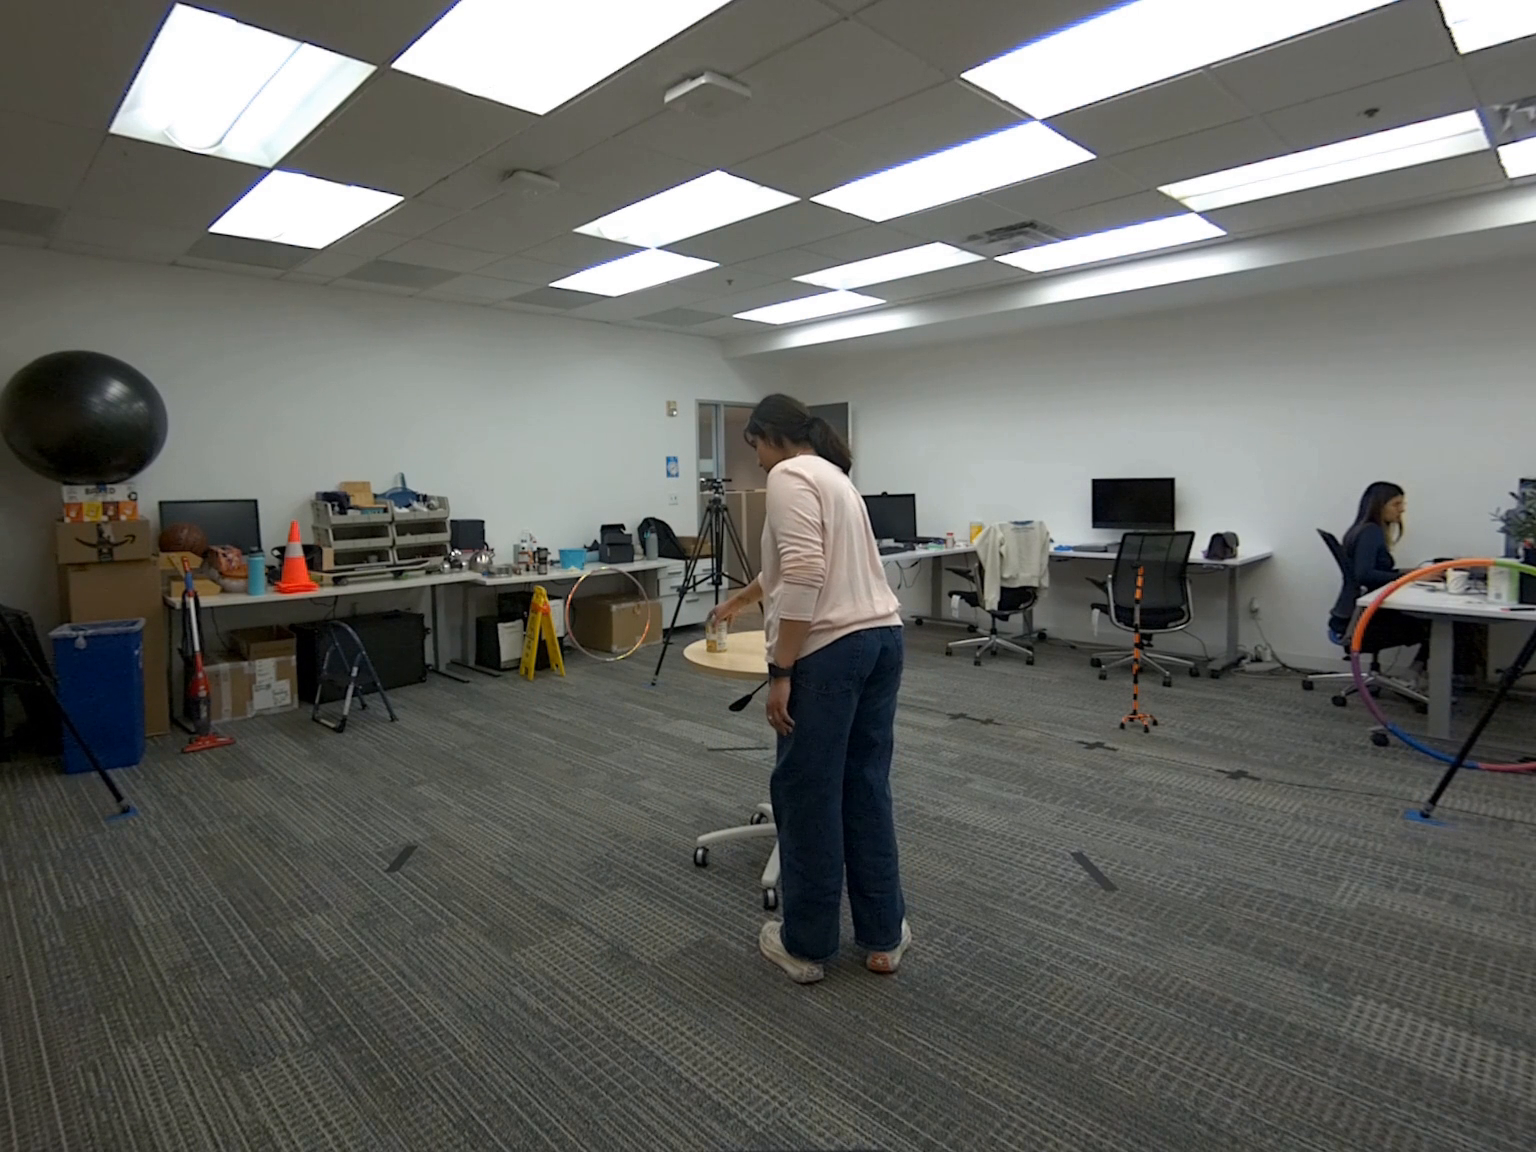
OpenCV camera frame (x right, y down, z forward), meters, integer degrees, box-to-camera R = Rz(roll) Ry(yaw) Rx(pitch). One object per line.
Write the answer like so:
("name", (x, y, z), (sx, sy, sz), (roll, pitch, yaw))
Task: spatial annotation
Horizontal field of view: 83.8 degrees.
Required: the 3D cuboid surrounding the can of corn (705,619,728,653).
("can of corn", (-0.180, 0.215, 3.063), (0.074, 0.110, 0.075), (0, 6, -2))
